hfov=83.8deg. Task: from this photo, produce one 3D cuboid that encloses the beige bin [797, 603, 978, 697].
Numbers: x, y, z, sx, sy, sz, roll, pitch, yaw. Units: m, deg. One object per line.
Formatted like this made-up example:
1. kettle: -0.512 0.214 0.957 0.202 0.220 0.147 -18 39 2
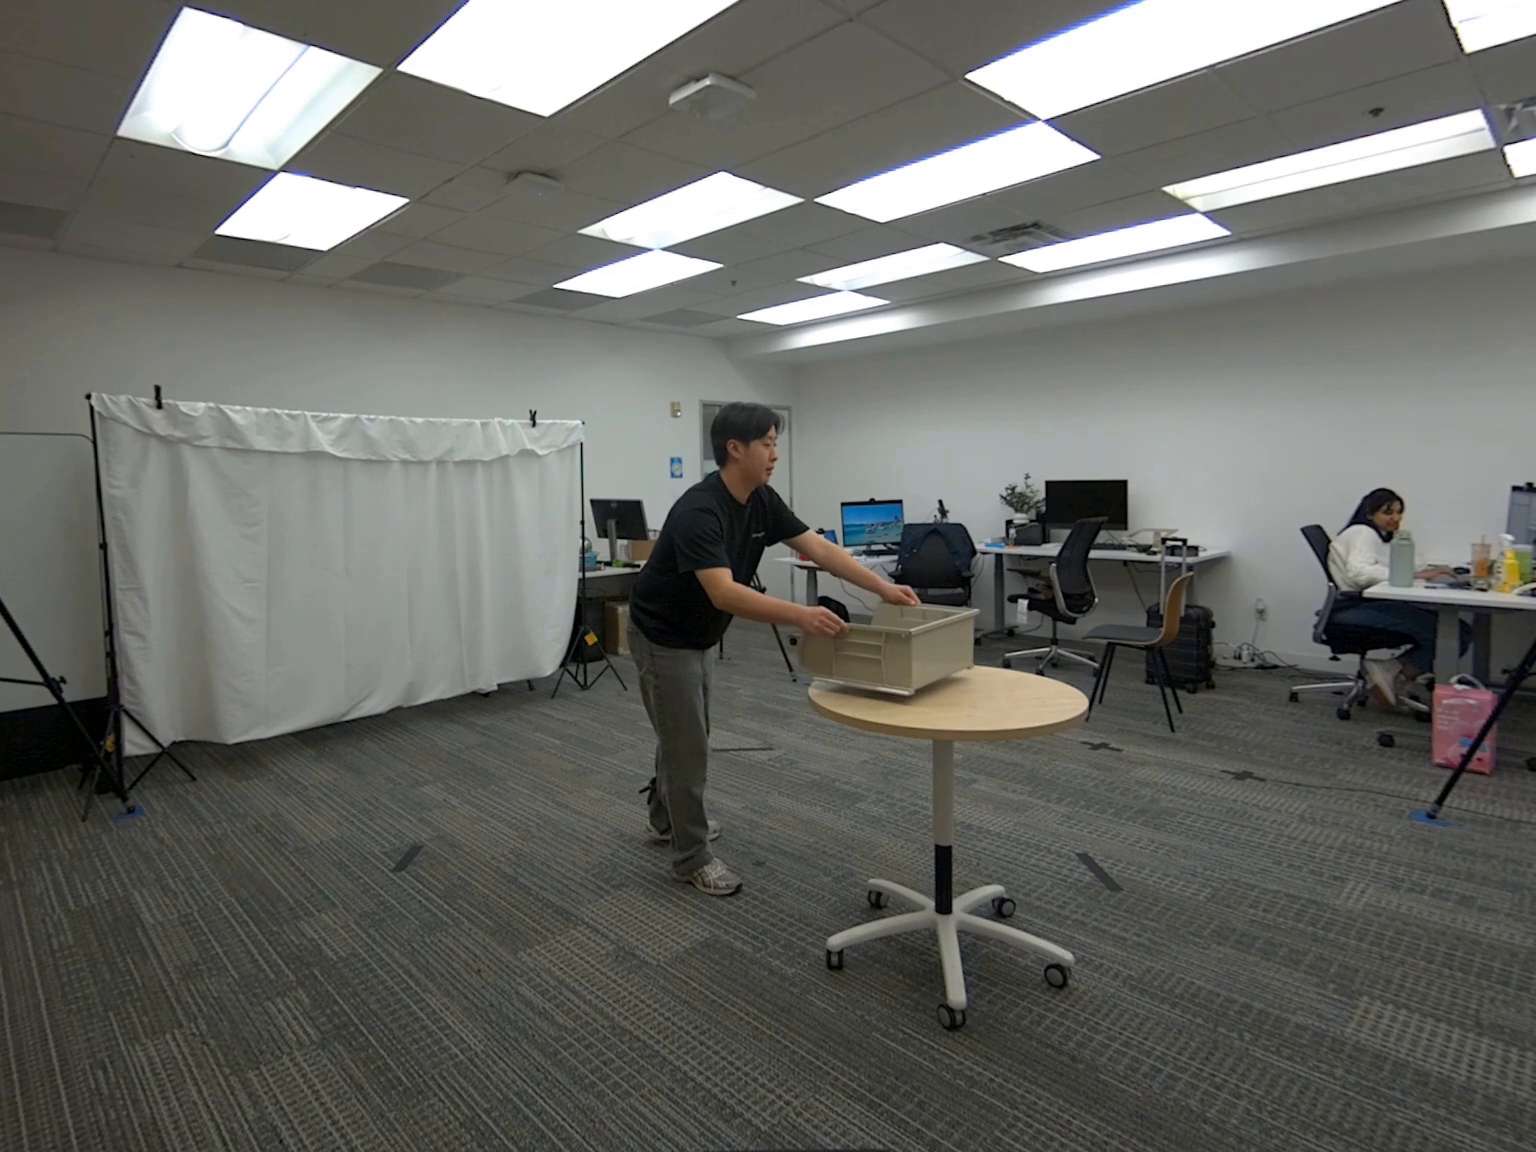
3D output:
1. beige bin: 0.363 0.203 2.536 0.389 0.188 0.412 6 9 39
